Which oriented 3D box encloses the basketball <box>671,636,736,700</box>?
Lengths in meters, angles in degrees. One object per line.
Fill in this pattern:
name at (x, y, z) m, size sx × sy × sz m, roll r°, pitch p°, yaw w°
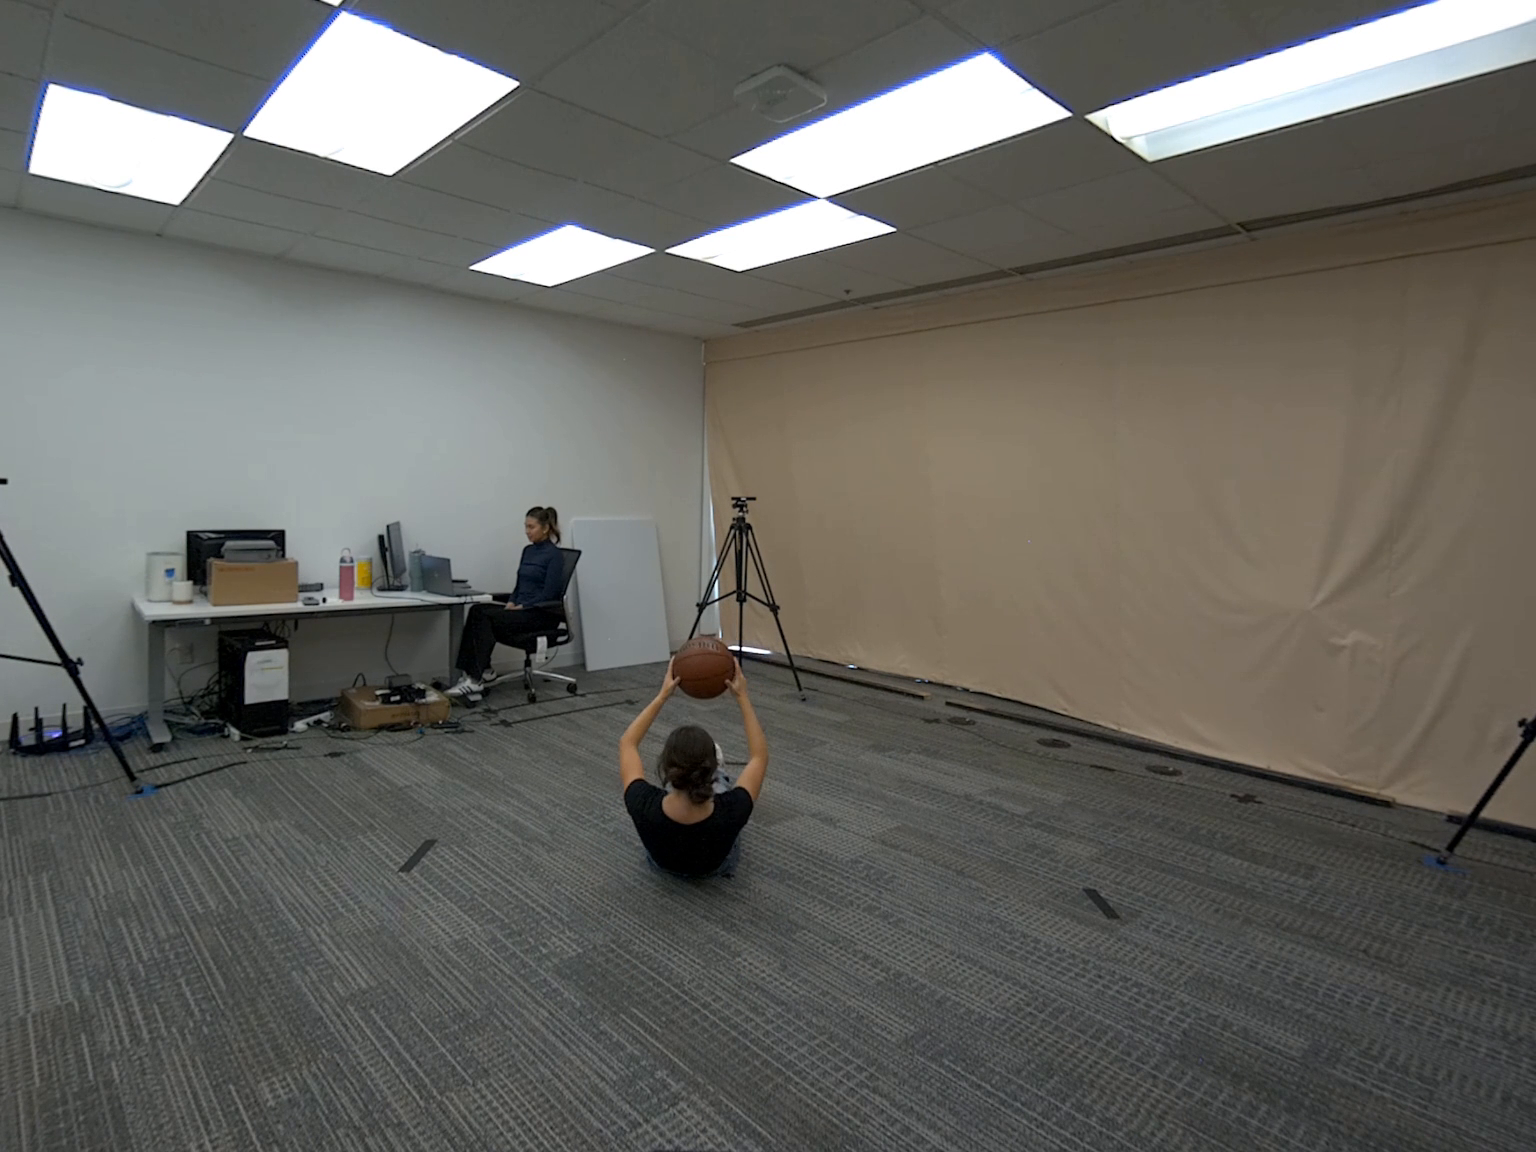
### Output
basketball at (-0.250, 0.349, 3.210) m, size 0.236 × 0.235 × 0.237 m, roll 1°, pitch 4°, yaw -1°
